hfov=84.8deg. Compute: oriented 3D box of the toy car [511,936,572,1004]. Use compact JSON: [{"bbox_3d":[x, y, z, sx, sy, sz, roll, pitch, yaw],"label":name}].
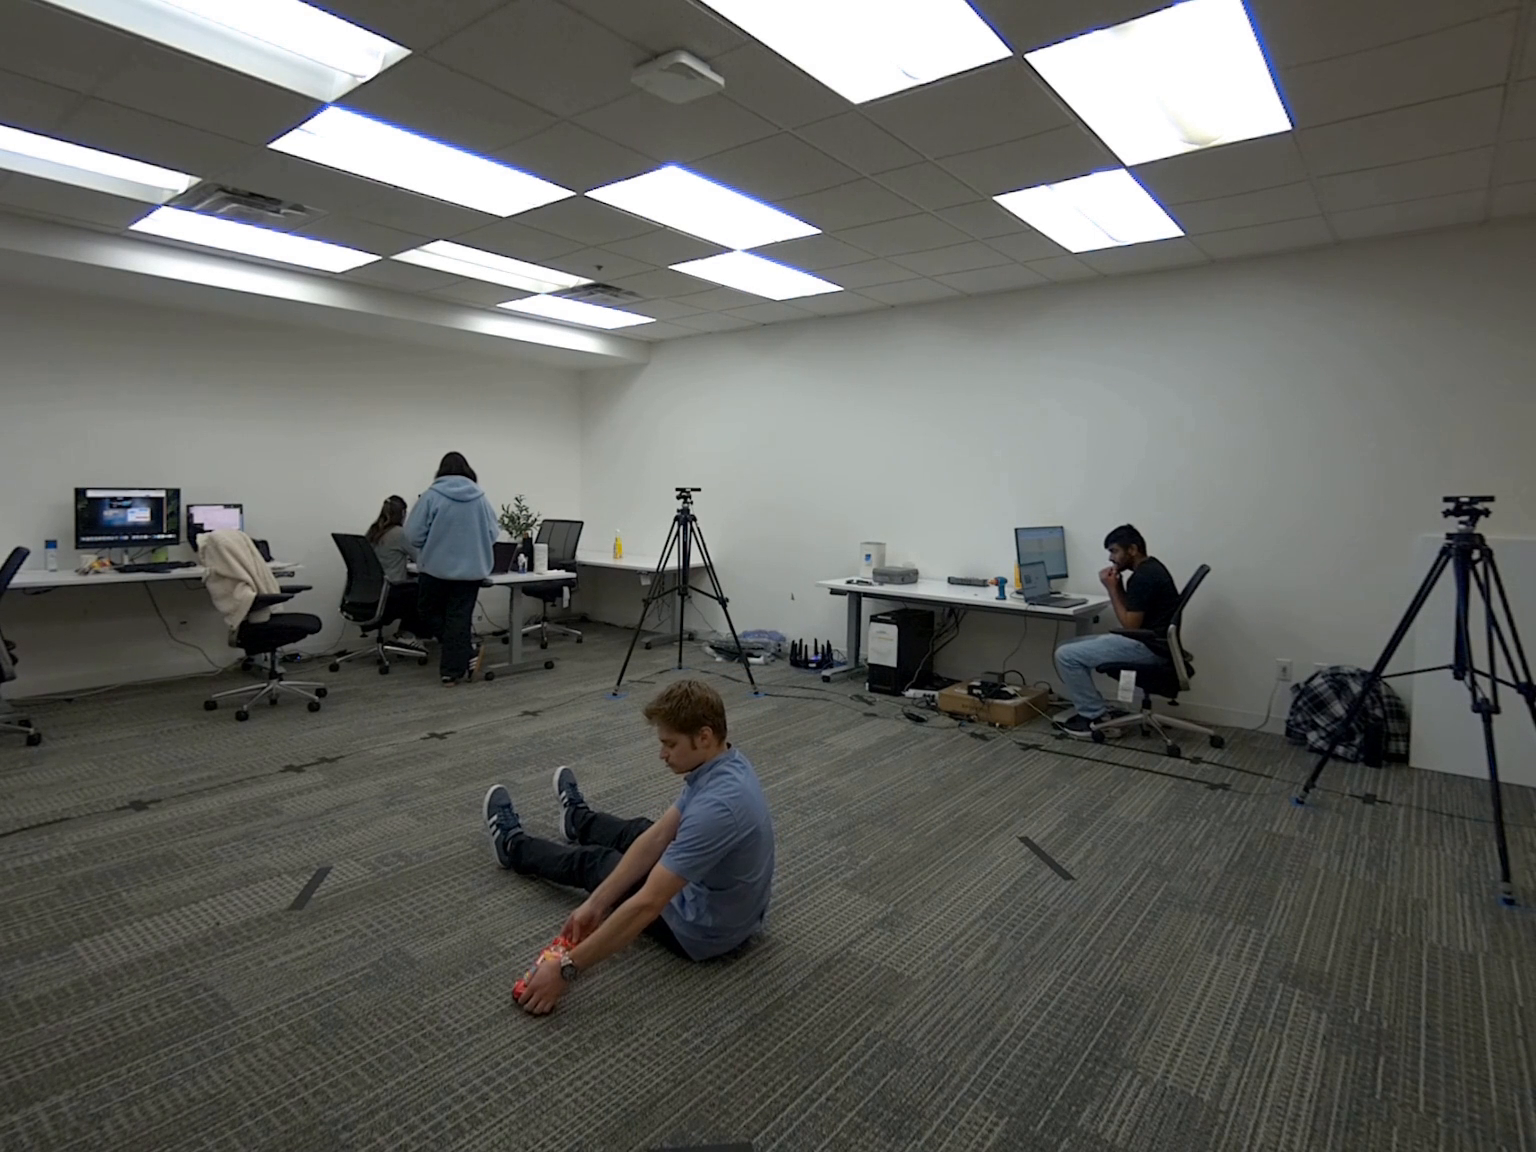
[{"bbox_3d":[-0.608,1.100,2.386,0.133,0.082,0.254,4,20,17],"label":"toy car"}]
